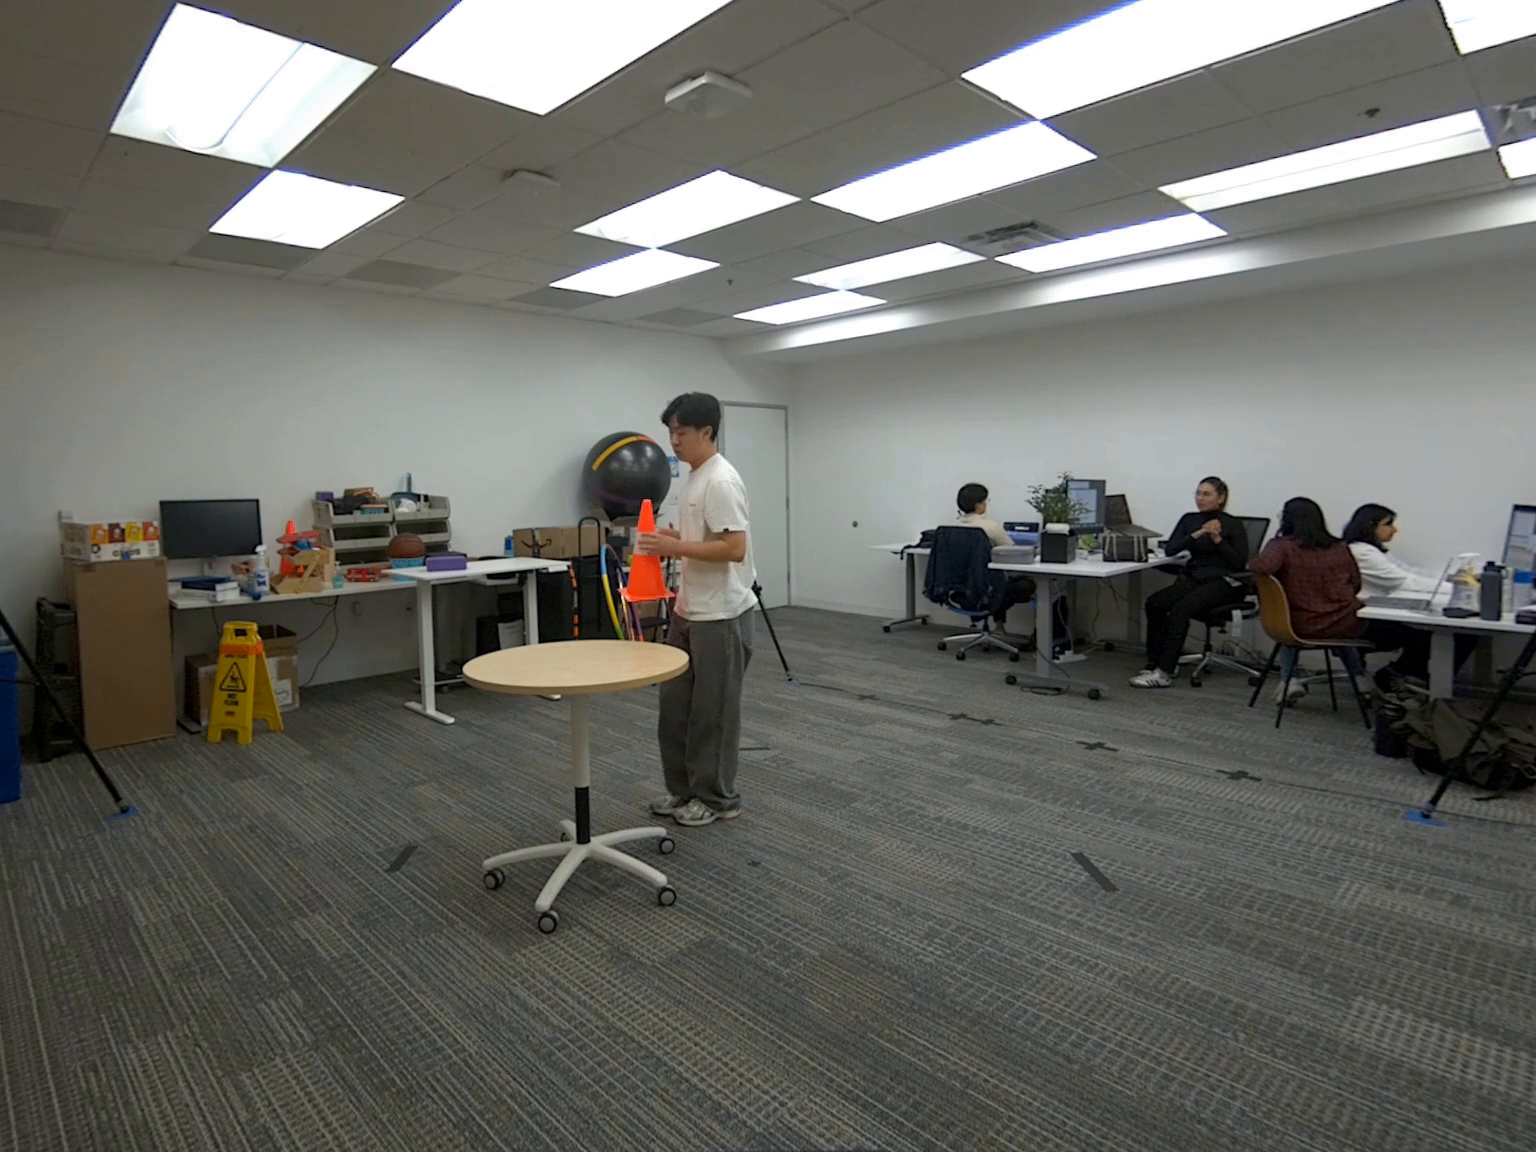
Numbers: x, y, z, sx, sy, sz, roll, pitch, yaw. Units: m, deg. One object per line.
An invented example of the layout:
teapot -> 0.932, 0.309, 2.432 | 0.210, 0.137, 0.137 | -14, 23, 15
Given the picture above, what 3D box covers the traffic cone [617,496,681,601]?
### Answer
traffic cone -> -0.473, -0.115, 3.434 | 0.206, 0.380, 0.204 | -1, 10, 4
